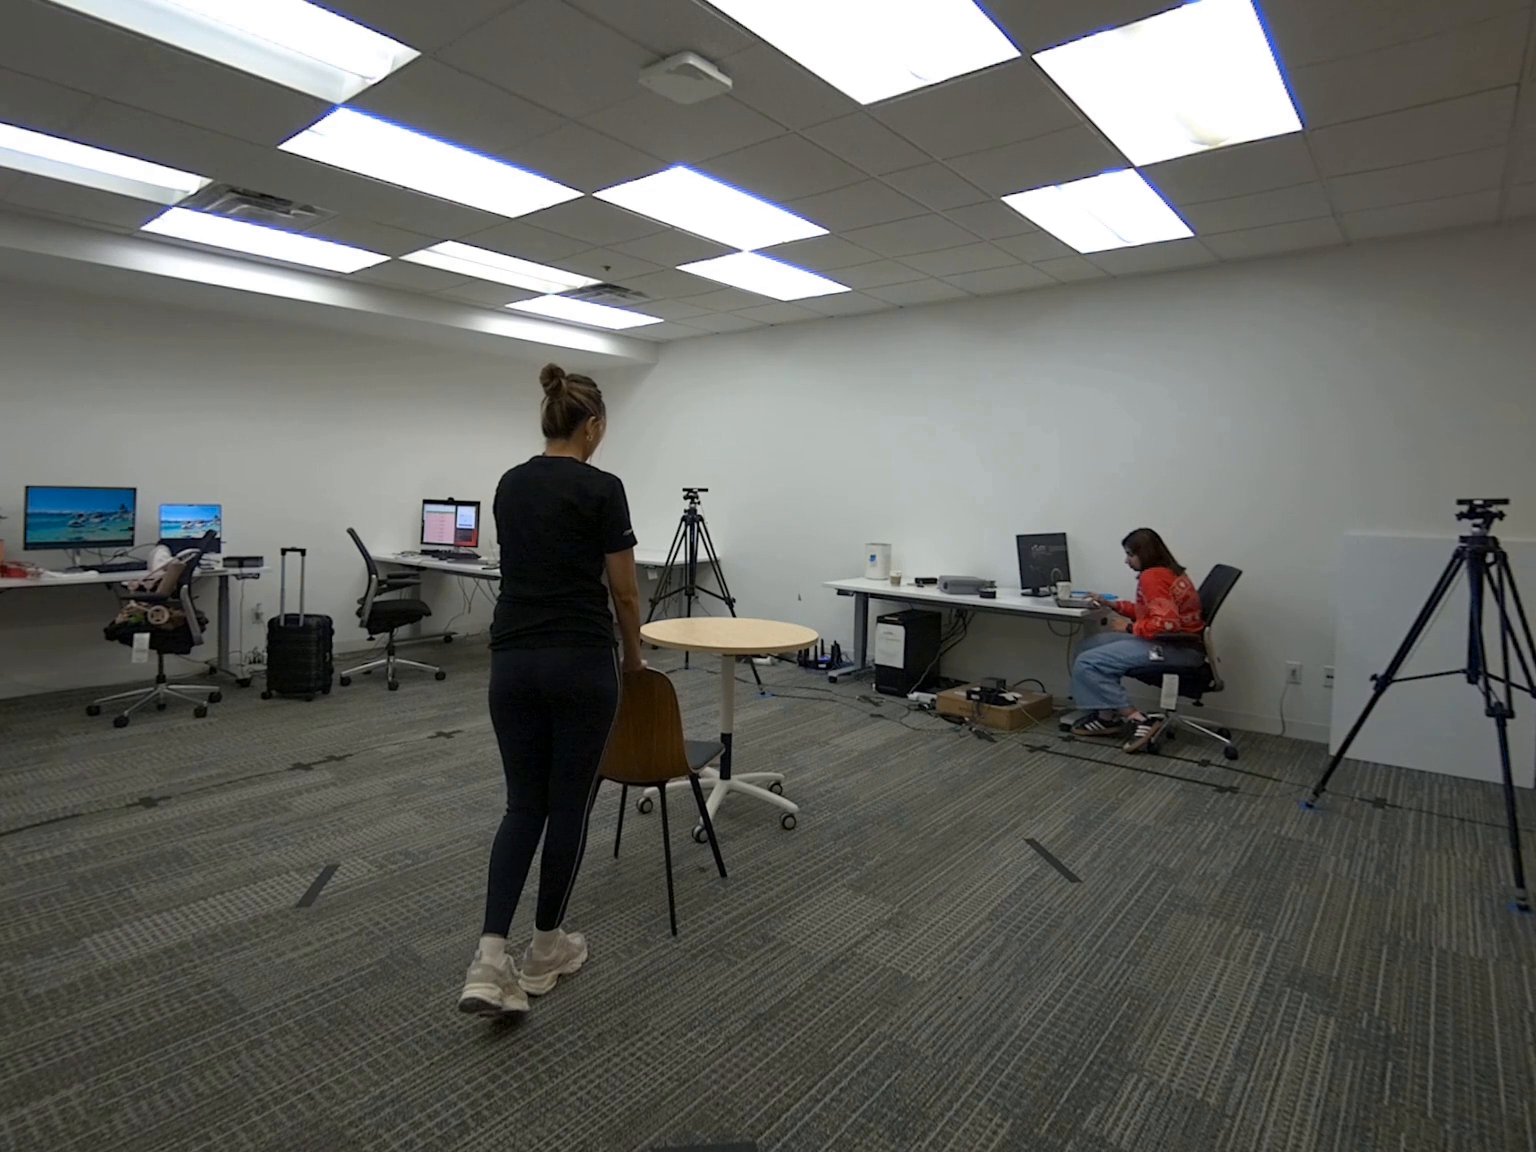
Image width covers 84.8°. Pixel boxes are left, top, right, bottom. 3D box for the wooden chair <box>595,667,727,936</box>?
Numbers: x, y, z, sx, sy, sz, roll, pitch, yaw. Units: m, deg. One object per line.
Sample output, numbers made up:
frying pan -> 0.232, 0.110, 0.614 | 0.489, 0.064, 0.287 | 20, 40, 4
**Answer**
wooden chair -> -0.432, 0.656, 2.904 | 0.488, 0.871, 0.515 | 2, 7, 20
